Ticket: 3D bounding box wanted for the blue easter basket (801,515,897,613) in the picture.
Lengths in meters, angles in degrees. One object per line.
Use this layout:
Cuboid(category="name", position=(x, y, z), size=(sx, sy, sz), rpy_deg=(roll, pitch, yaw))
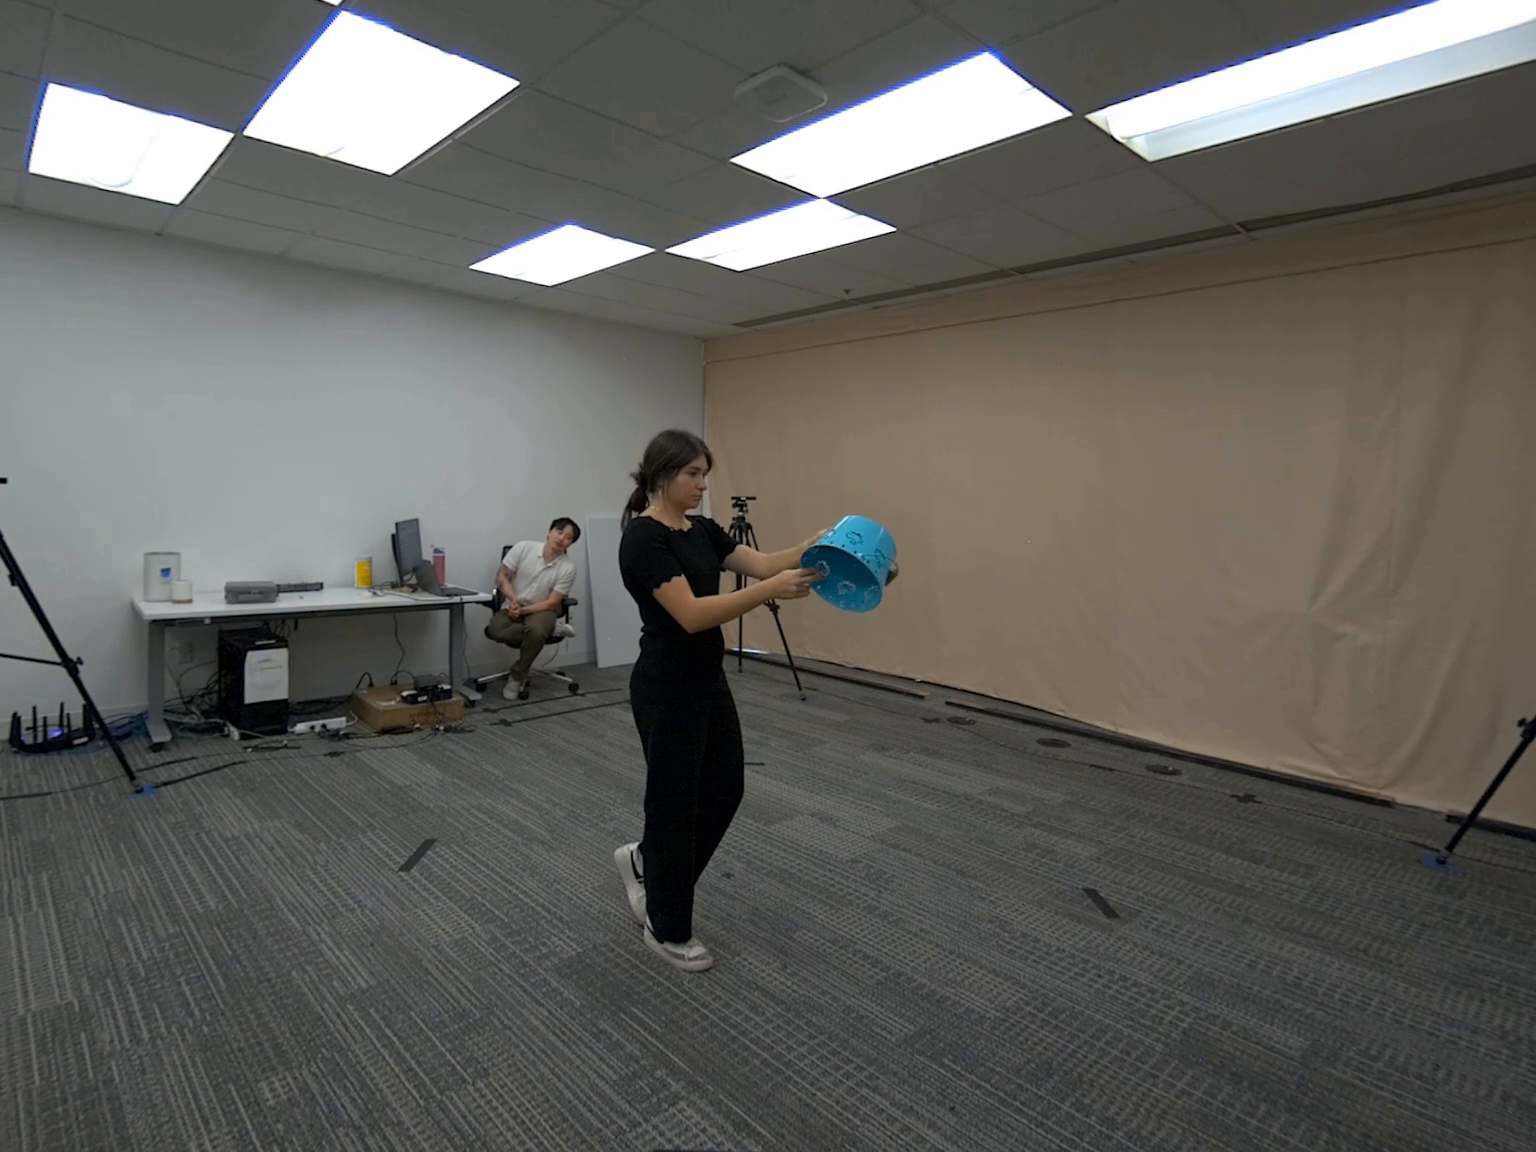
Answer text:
Cuboid(category="blue easter basket", position=(0.215, -0.032, 2.208), size=(0.250, 0.237, 0.156), rpy_deg=(5, 44, 39))
